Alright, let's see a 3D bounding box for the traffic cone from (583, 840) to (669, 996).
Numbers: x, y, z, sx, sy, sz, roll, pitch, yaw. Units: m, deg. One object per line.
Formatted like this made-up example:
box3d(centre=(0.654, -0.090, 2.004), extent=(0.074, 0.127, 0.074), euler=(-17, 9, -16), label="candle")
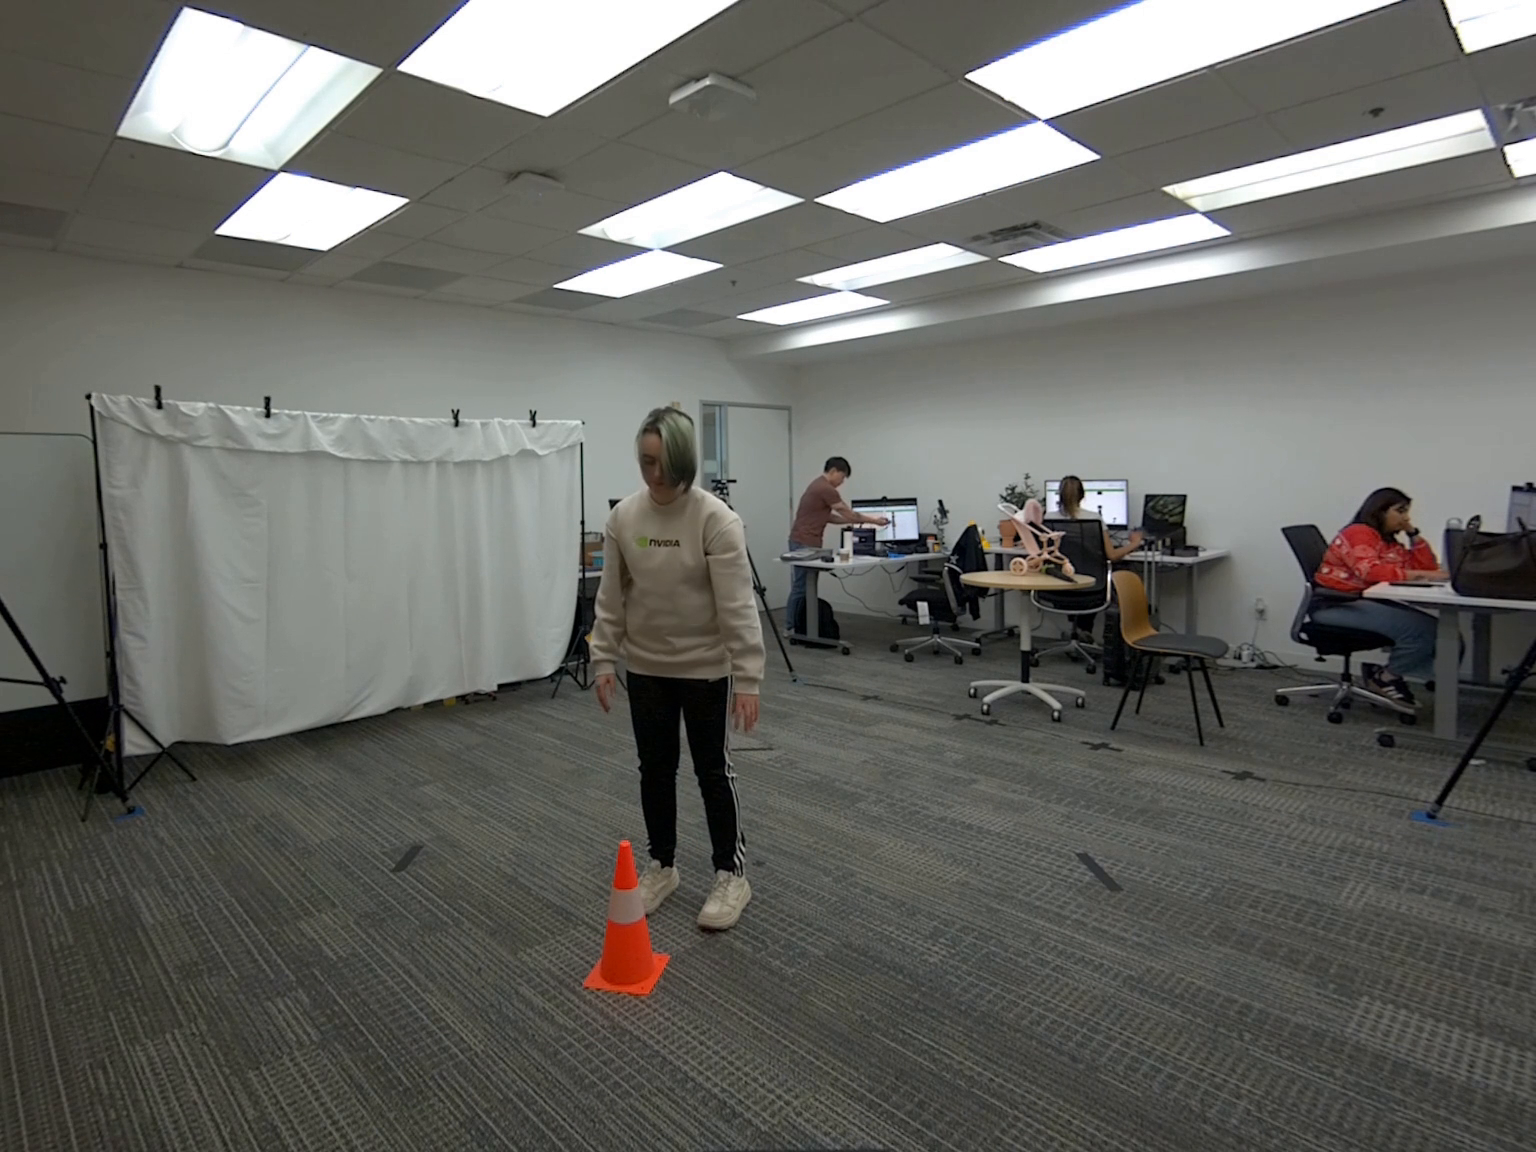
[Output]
box3d(centre=(-0.396, 0.948, 2.437), extent=(0.205, 0.382, 0.204), euler=(1, 4, 8), label="traffic cone")
